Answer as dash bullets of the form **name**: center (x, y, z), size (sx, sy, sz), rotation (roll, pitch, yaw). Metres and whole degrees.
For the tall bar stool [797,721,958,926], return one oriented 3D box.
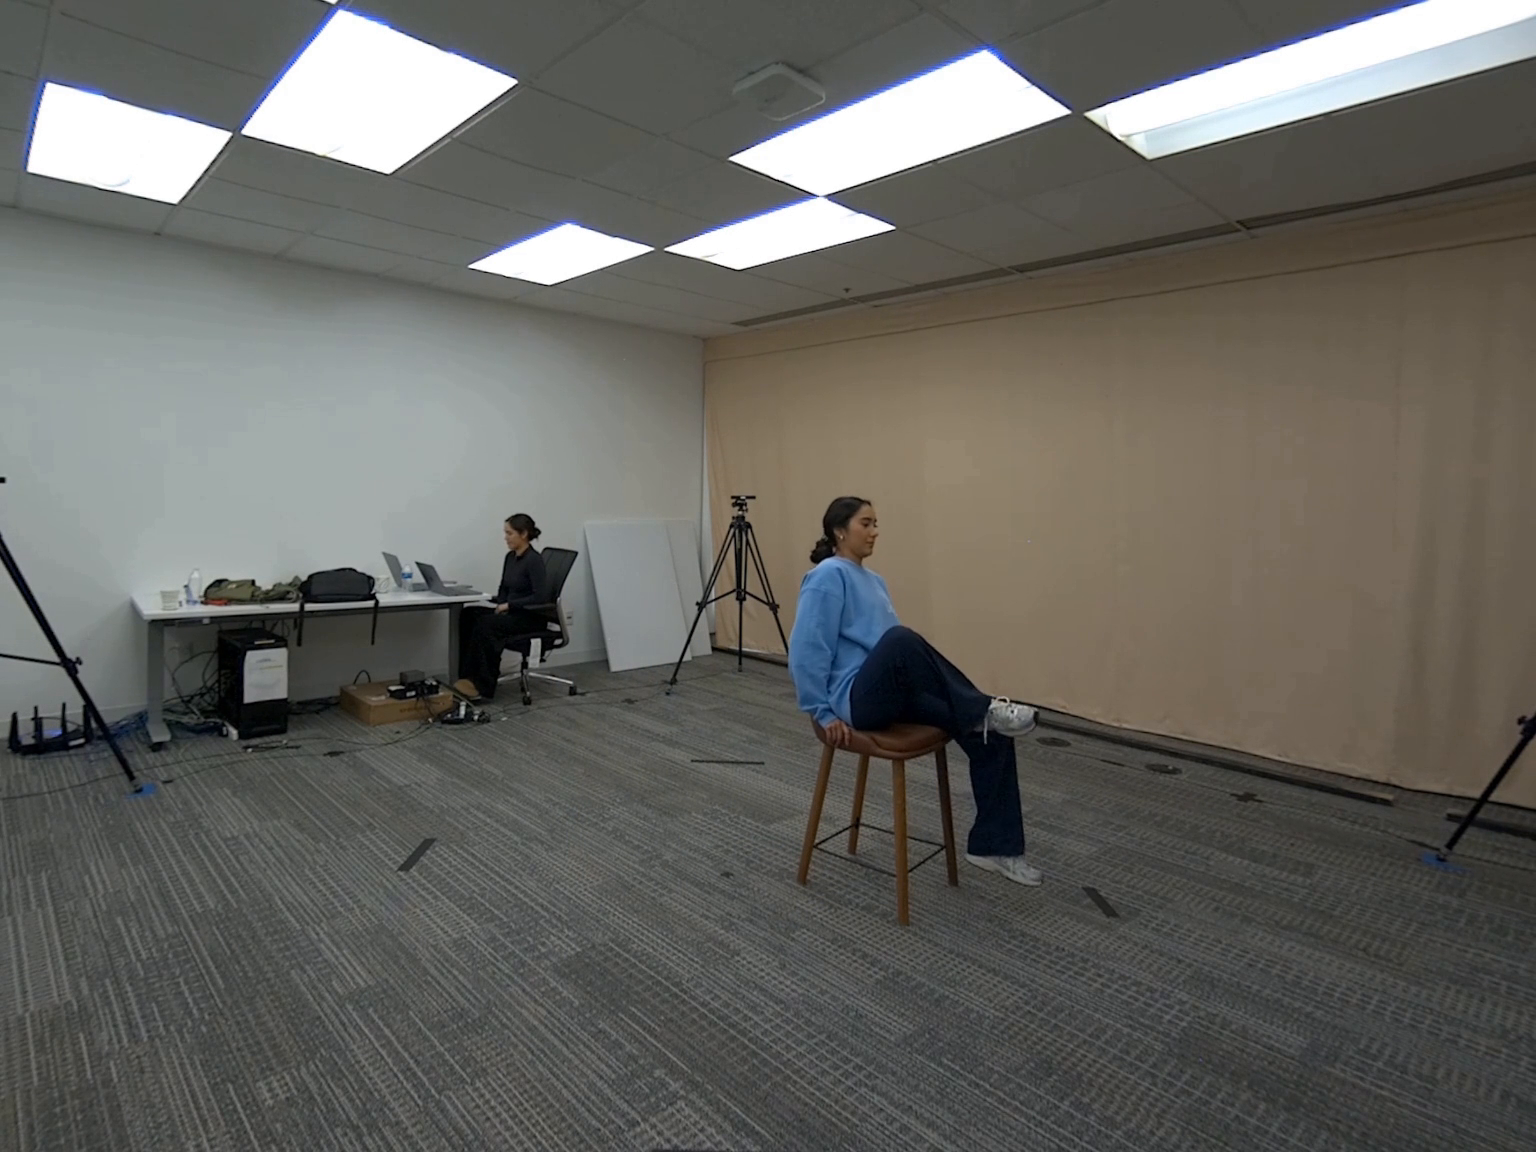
- **tall bar stool**: center (0.389, 0.682, 3.033), size (0.479, 0.889, 0.446), rotation (1, 2, 39)
